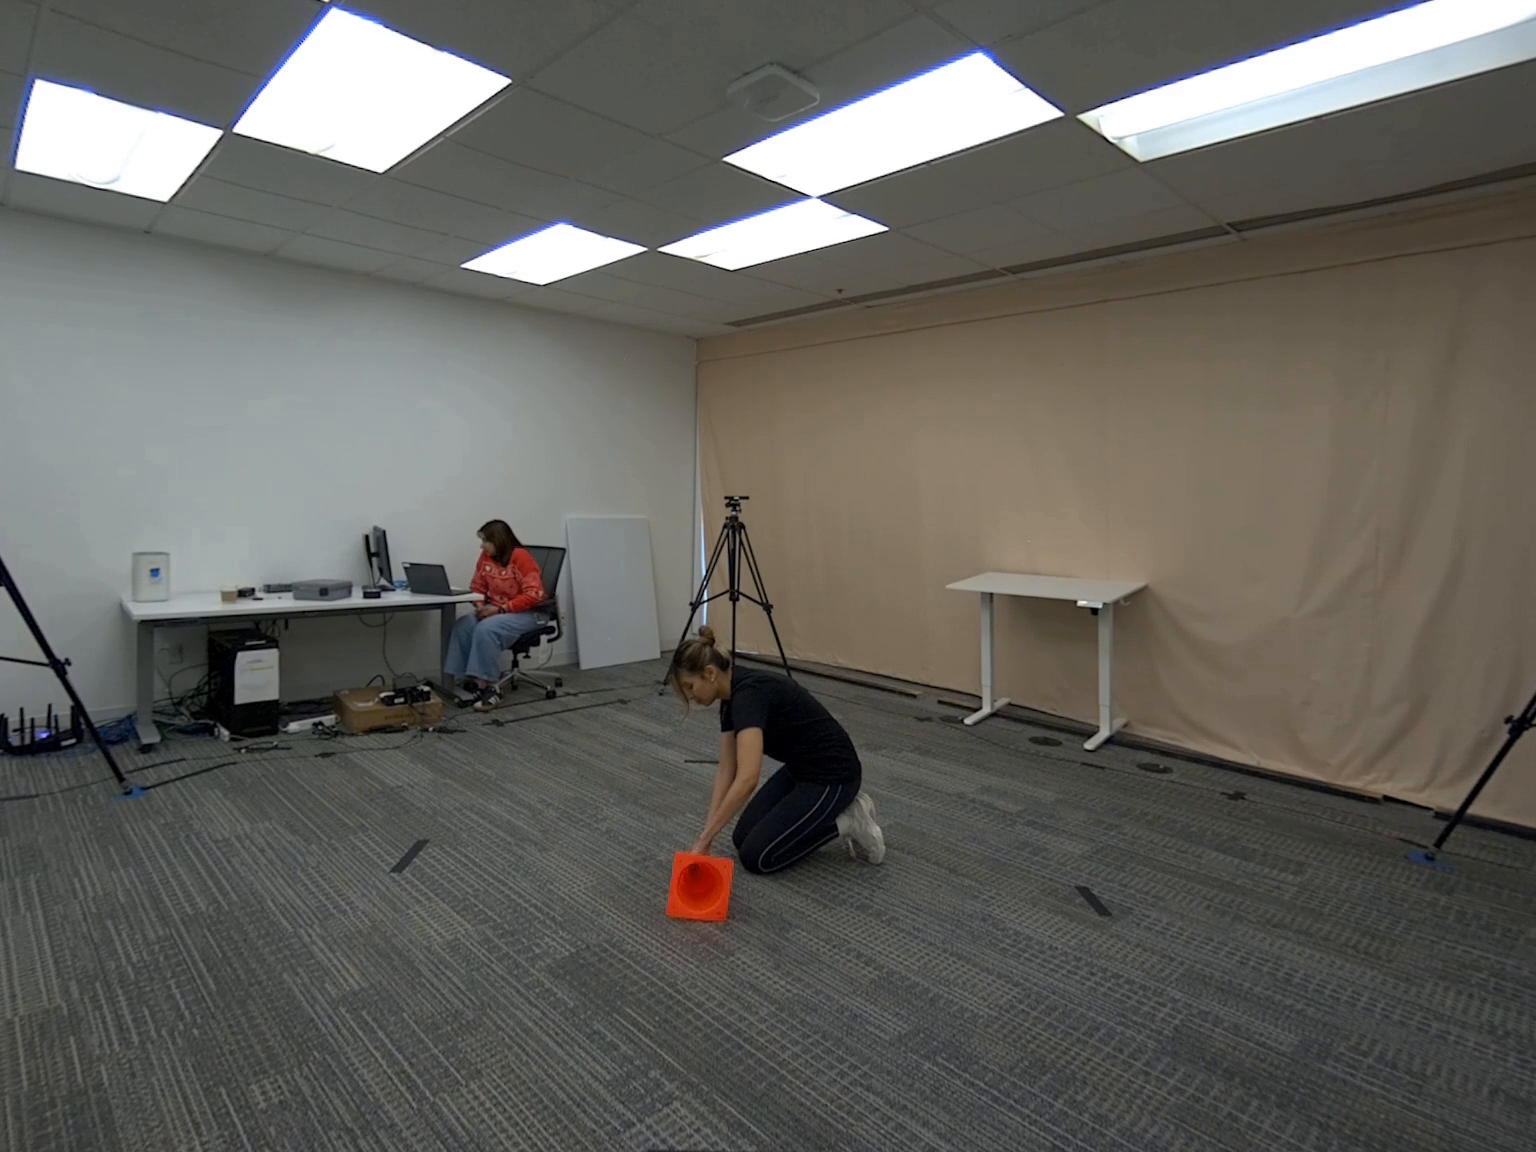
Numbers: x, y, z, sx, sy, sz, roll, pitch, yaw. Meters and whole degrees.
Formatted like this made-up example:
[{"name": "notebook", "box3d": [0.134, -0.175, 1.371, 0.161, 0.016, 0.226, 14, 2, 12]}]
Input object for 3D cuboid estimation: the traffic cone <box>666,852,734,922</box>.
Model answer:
[{"name": "traffic cone", "box3d": [-0.254, 1.063, 2.955, 0.202, 0.206, 0.382, 14, -12, -5]}]
